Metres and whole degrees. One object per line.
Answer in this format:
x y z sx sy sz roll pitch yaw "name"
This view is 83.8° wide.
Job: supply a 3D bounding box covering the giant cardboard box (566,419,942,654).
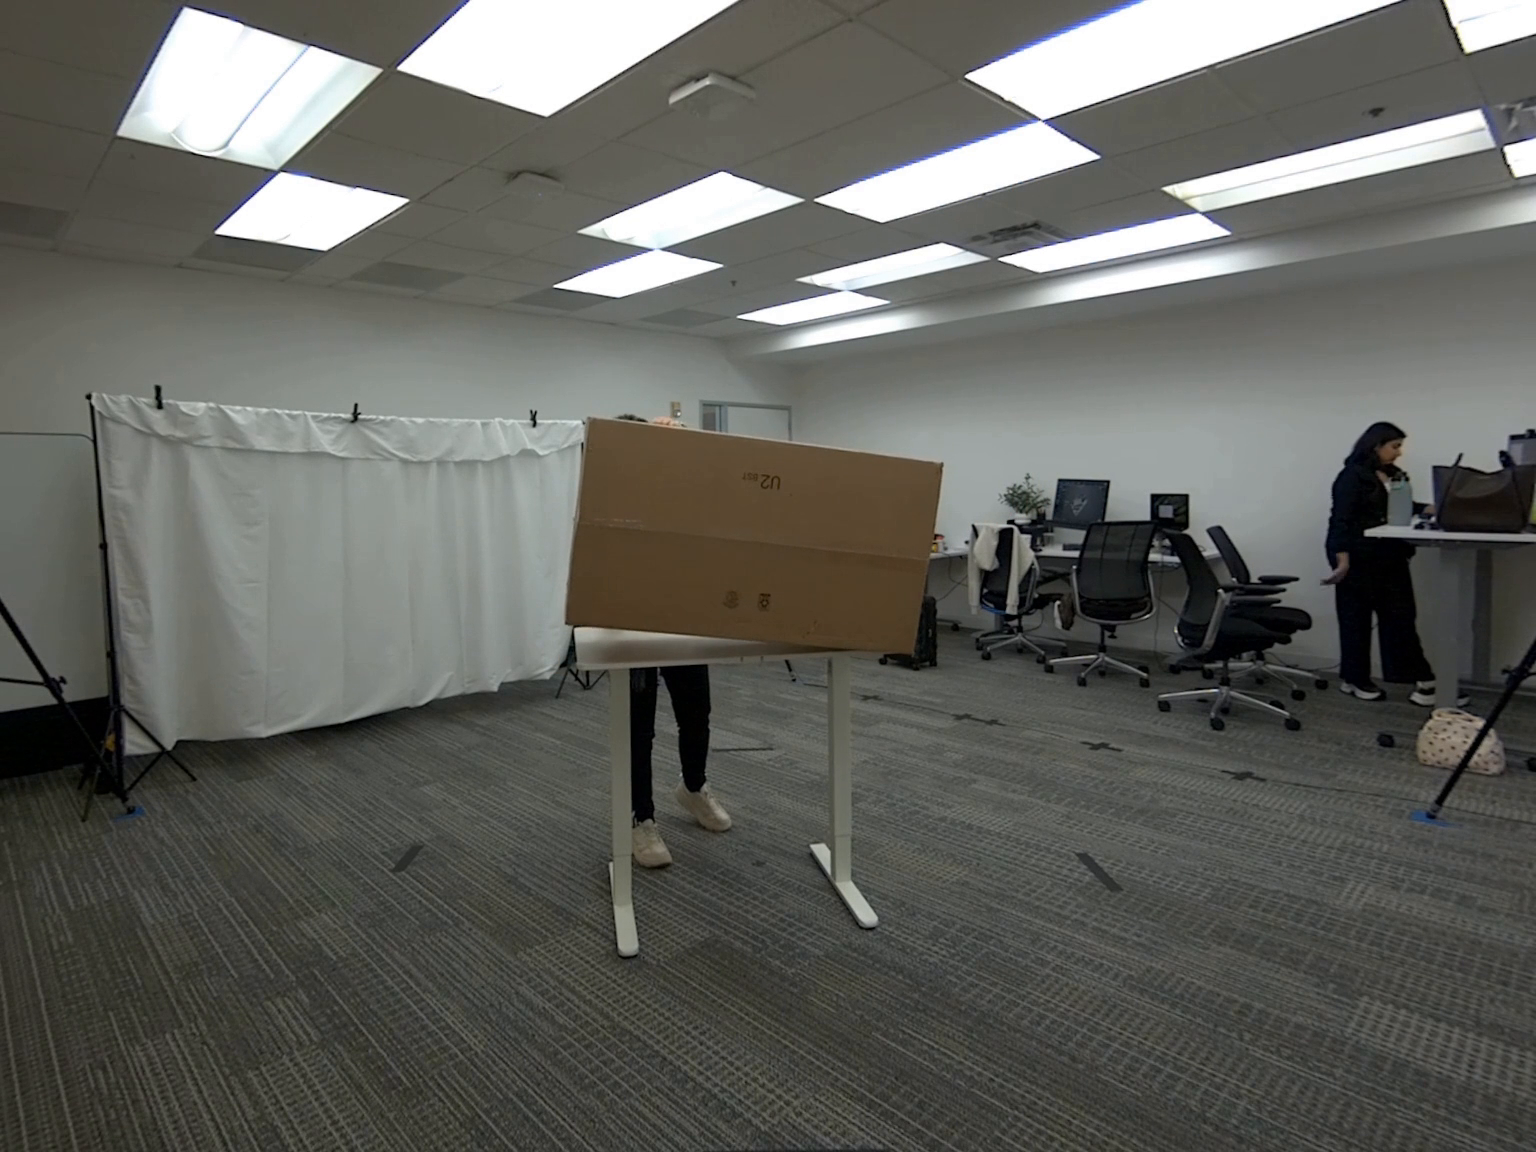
-0.069 -0.125 2.612 1.017 0.581 0.454 6 7 -9 "giant cardboard box"
